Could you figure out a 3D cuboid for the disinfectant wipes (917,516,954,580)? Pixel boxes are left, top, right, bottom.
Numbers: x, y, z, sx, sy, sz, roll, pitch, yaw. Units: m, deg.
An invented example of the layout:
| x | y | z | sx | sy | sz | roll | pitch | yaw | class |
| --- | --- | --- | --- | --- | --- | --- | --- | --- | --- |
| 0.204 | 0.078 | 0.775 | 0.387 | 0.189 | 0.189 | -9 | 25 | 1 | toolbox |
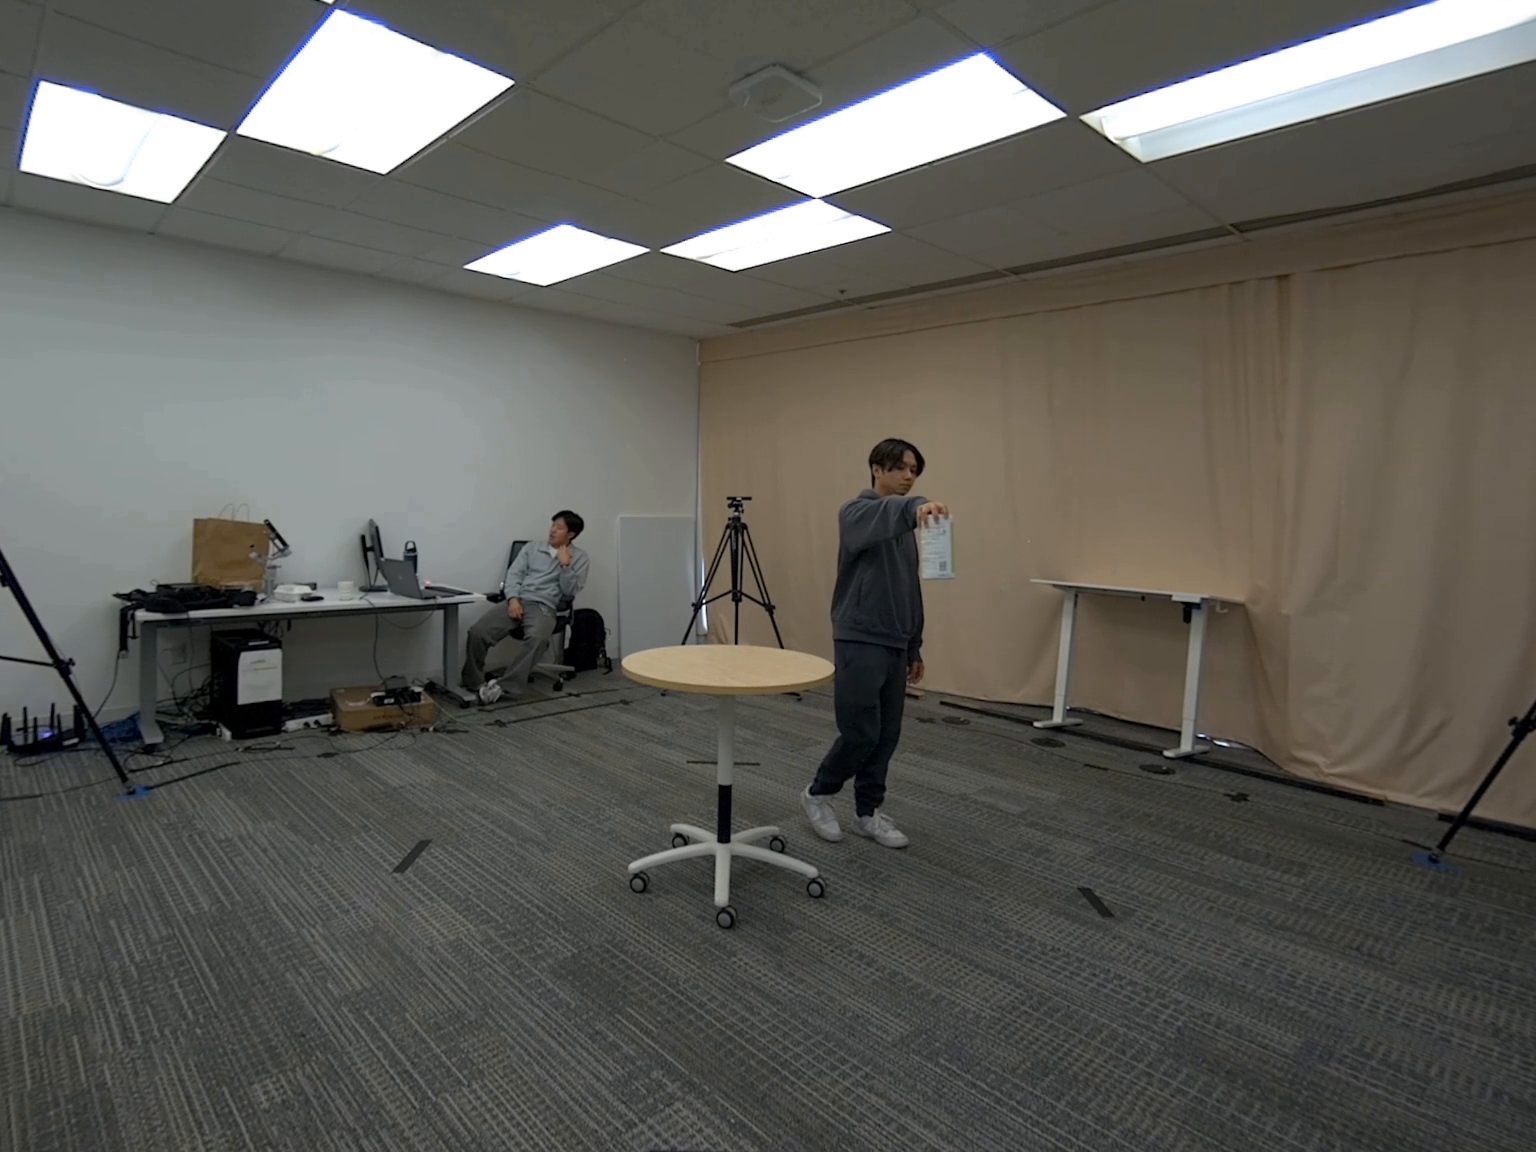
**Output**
| x | y | z | sx | sy | sz | roll | pitch | yaw | class |
| --- | --- | --- | --- | --- | --- | --- | --- | --- | --- |
| 0.559 | -0.097 | 2.810 | 0.118 | 0.217 | 0.118 | -2 | 0 | -1 | disinfectant wipes |
